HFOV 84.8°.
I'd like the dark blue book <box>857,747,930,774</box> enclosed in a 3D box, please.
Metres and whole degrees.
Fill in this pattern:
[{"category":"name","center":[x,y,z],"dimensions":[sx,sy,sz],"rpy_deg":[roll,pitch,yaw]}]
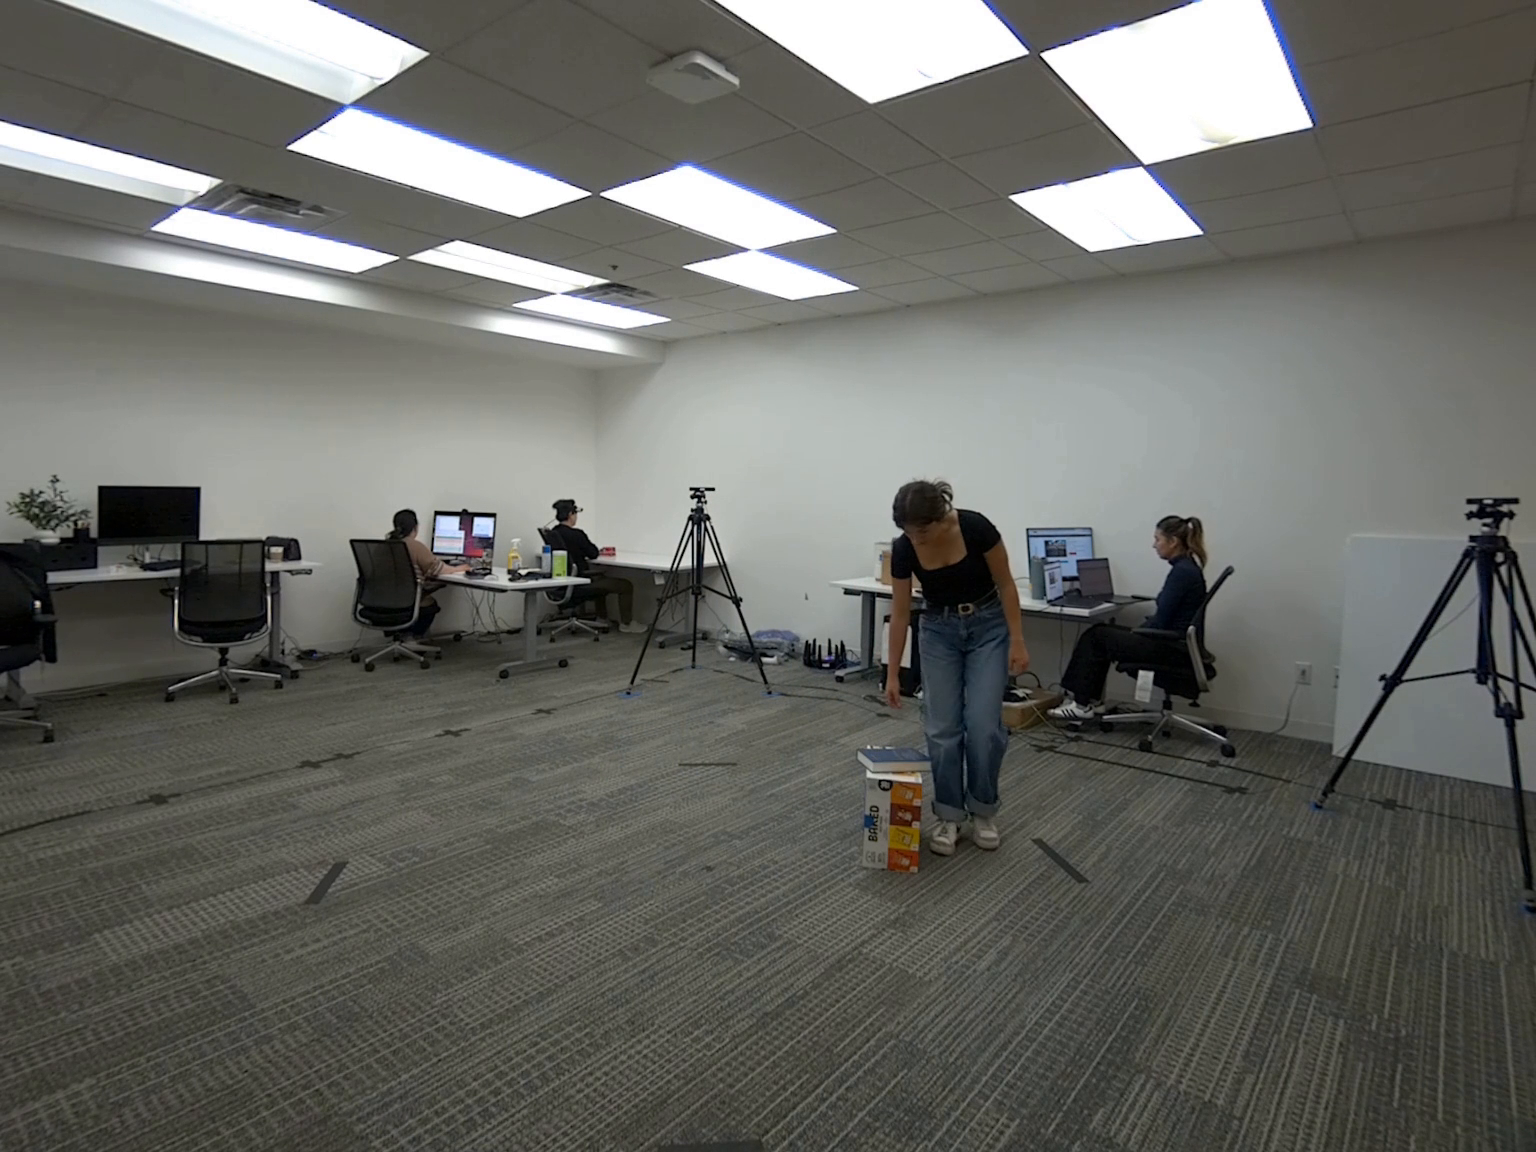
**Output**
[{"category":"dark blue book","center":[0.485,0.706,3.279],"dimensions":[0.241,0.045,0.166],"rpy_deg":[2,5,-14]}]
